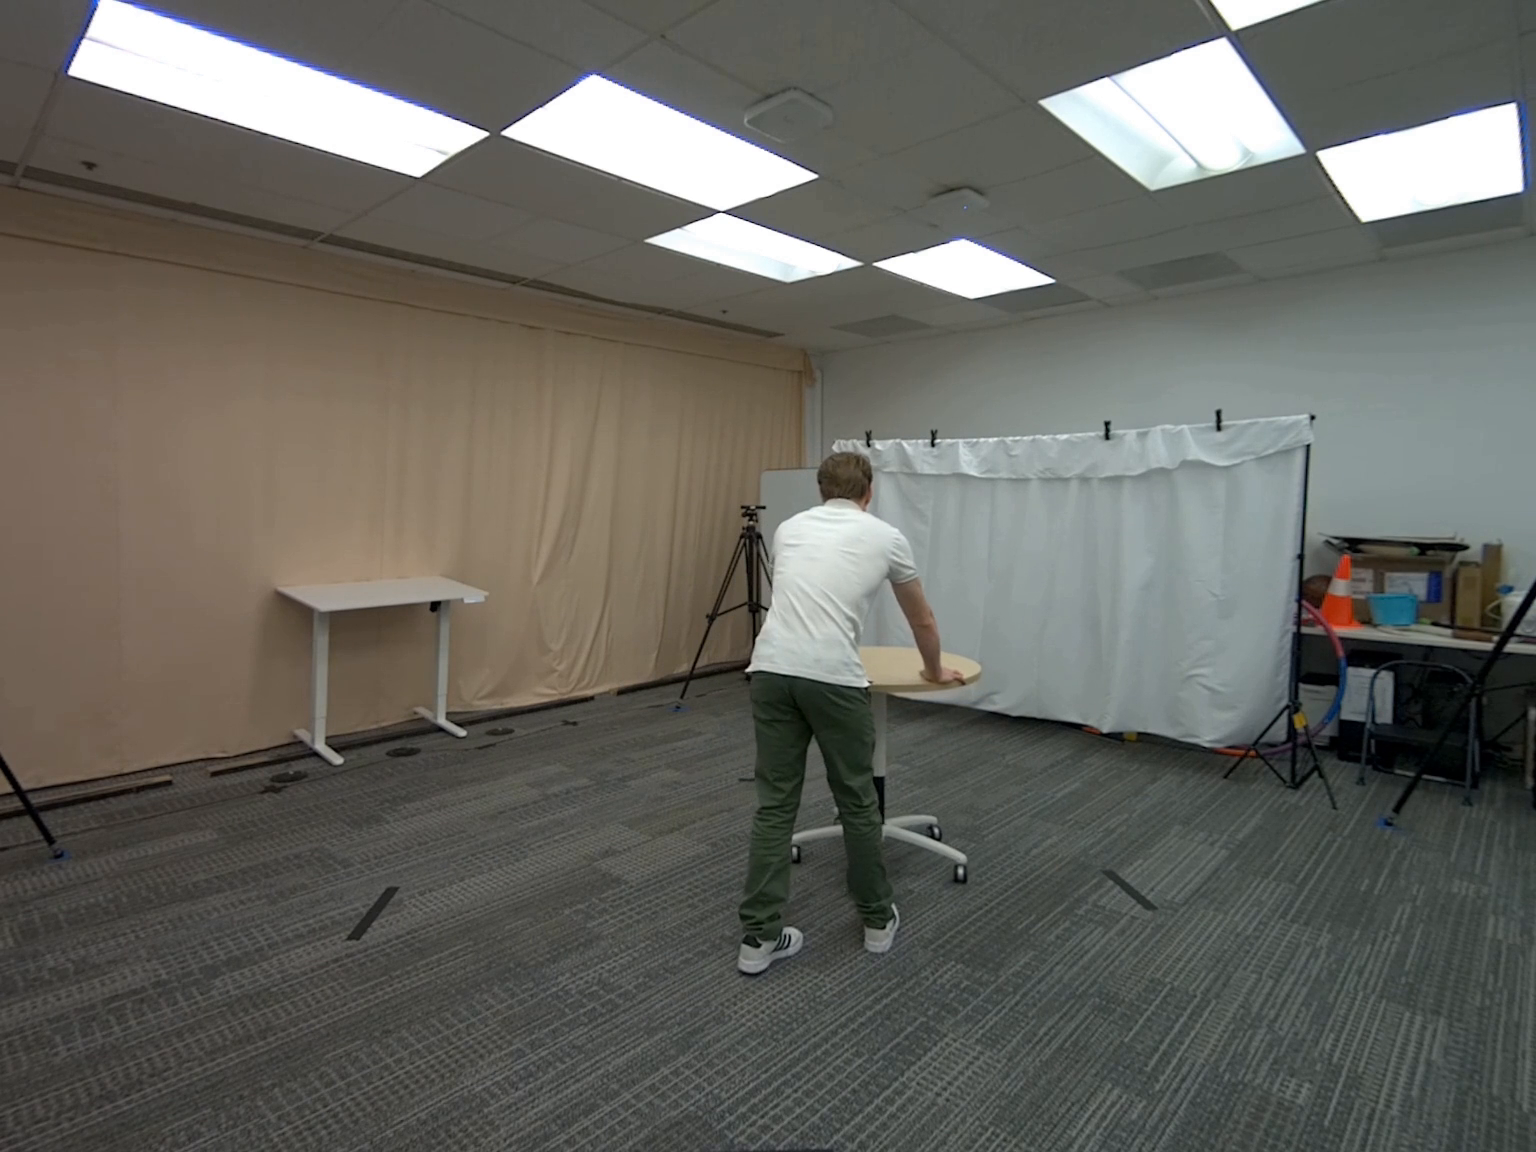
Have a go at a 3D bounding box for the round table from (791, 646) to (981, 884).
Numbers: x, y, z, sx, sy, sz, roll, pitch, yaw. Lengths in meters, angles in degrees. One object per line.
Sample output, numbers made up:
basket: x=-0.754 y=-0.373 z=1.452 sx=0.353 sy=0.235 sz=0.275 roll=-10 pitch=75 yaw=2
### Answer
round table: x=0.443 y=0.731 z=3.303 sx=0.763 sy=0.792 sz=0.767 roll=0 pitch=4 yaw=-2
